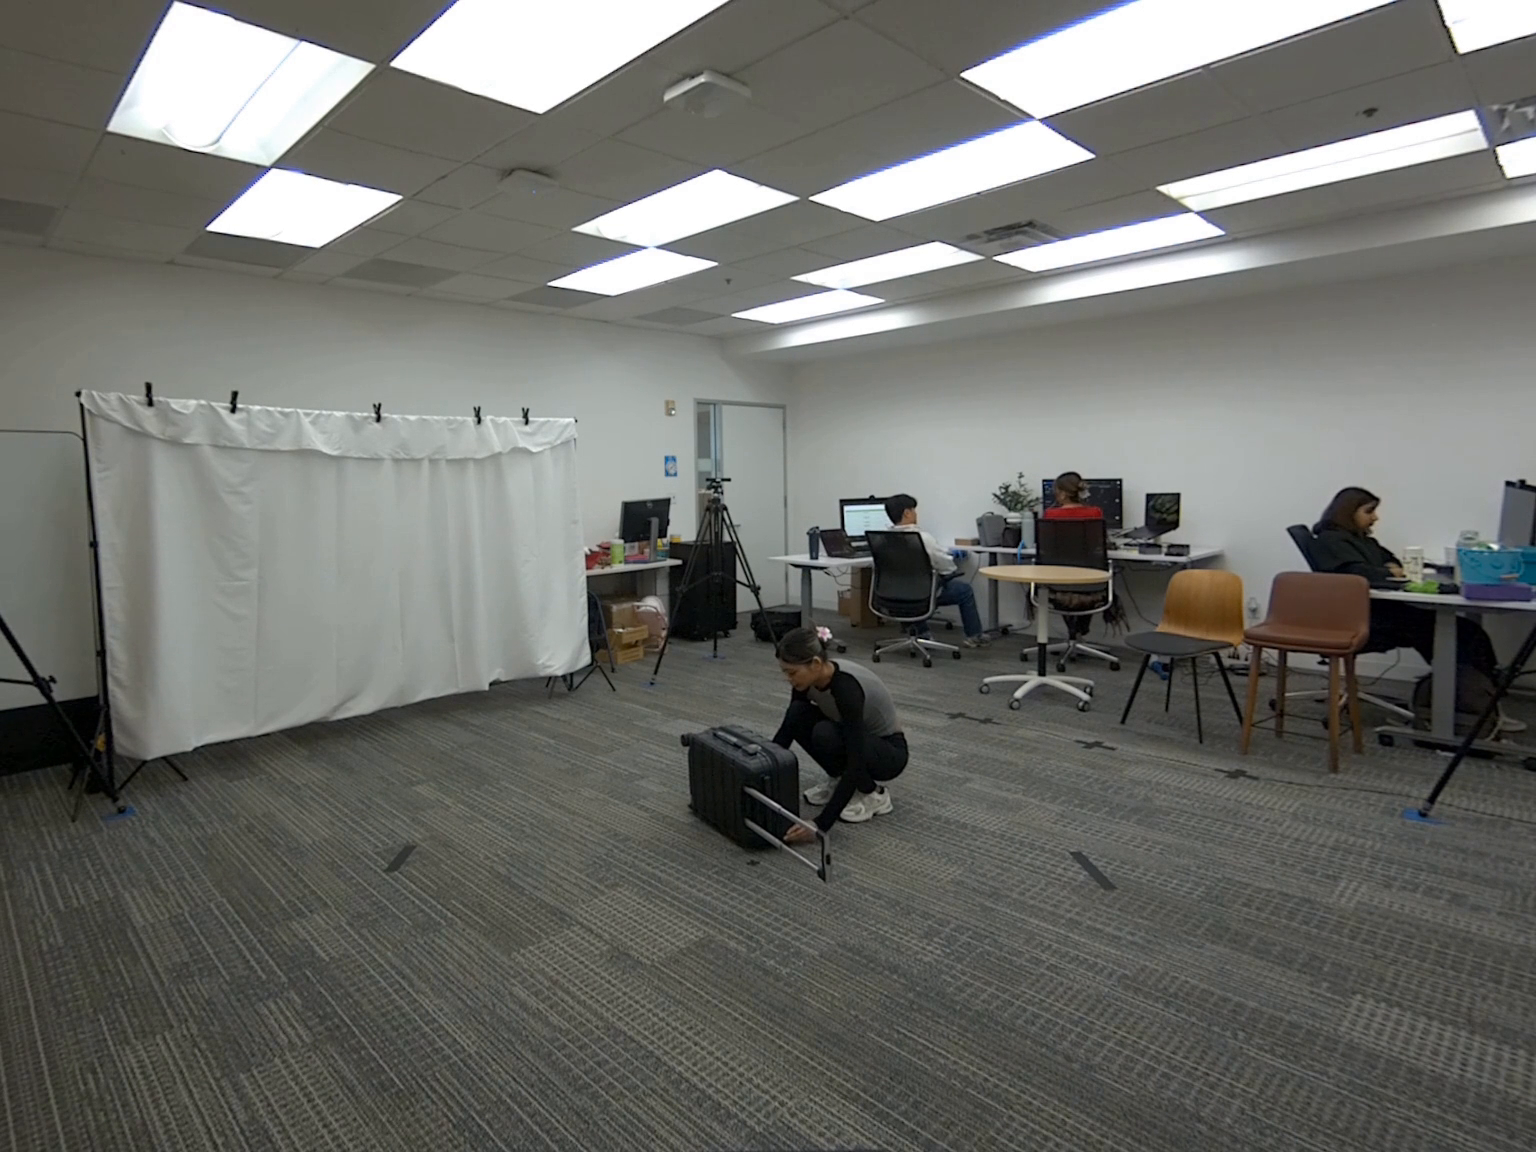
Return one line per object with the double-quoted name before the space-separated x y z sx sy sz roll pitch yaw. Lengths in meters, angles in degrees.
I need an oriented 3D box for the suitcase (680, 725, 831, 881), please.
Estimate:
"suitcase" 0.009 0.839 3.216 0.251 0.382 1.007 -6 8 -32
